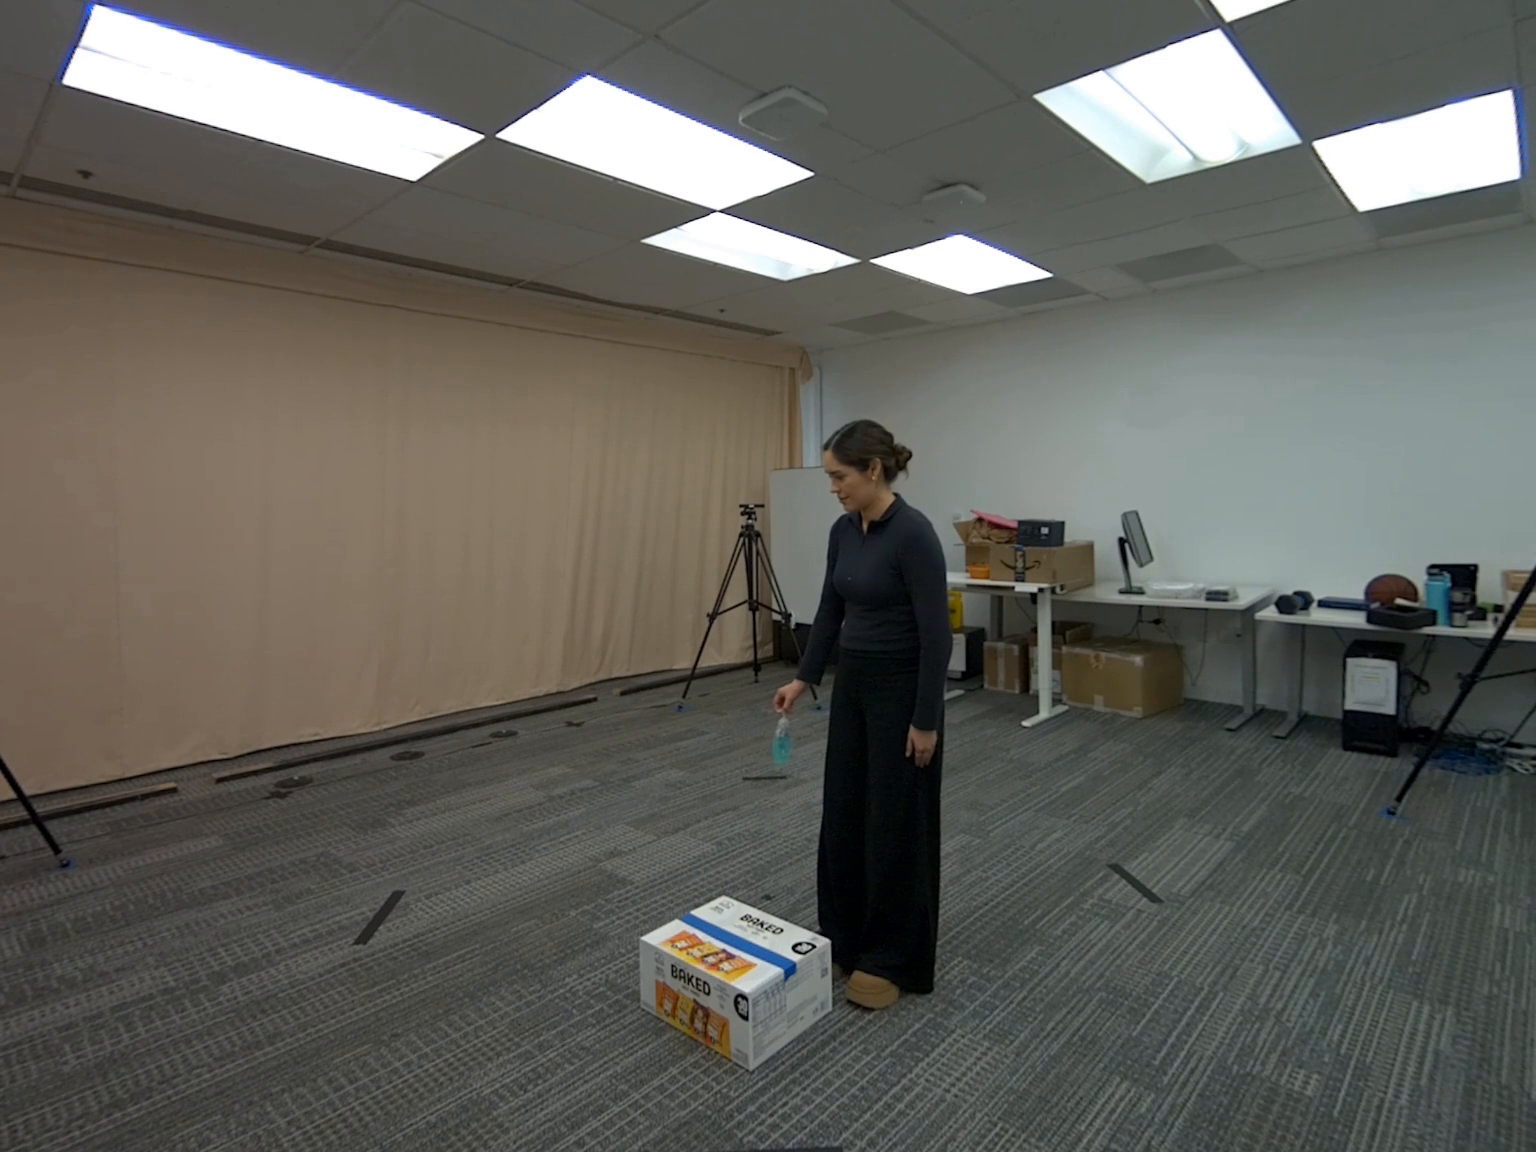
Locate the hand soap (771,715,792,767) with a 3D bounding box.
[{"bbox_3d":[0.053,0.500,2.622,0.045,0.167,0.082,8,7,42],"label":"hand soap"}]
